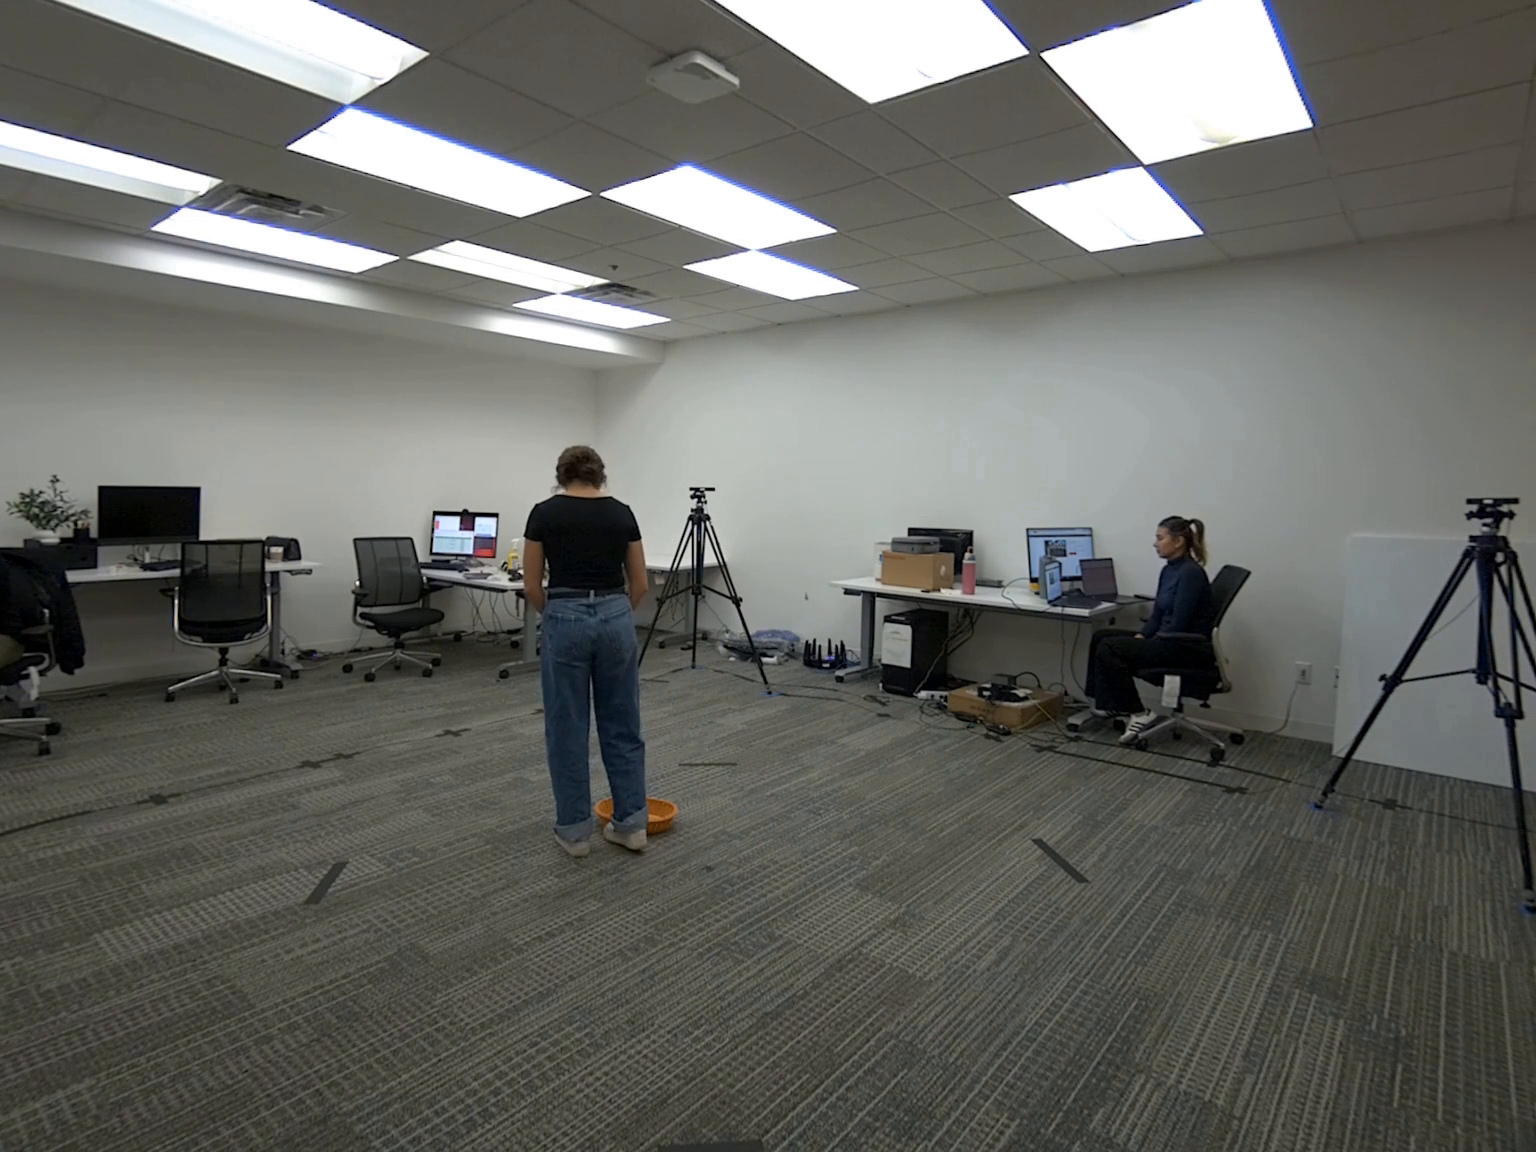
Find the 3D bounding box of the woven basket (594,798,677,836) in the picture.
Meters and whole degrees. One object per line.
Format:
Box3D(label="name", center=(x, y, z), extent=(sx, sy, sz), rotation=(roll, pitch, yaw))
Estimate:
Box3D(label="woven basket", center=(-0.554, 0.979, 3.493), extent=(0.357, 0.073, 0.249), rotation=(2, 6, 17))
